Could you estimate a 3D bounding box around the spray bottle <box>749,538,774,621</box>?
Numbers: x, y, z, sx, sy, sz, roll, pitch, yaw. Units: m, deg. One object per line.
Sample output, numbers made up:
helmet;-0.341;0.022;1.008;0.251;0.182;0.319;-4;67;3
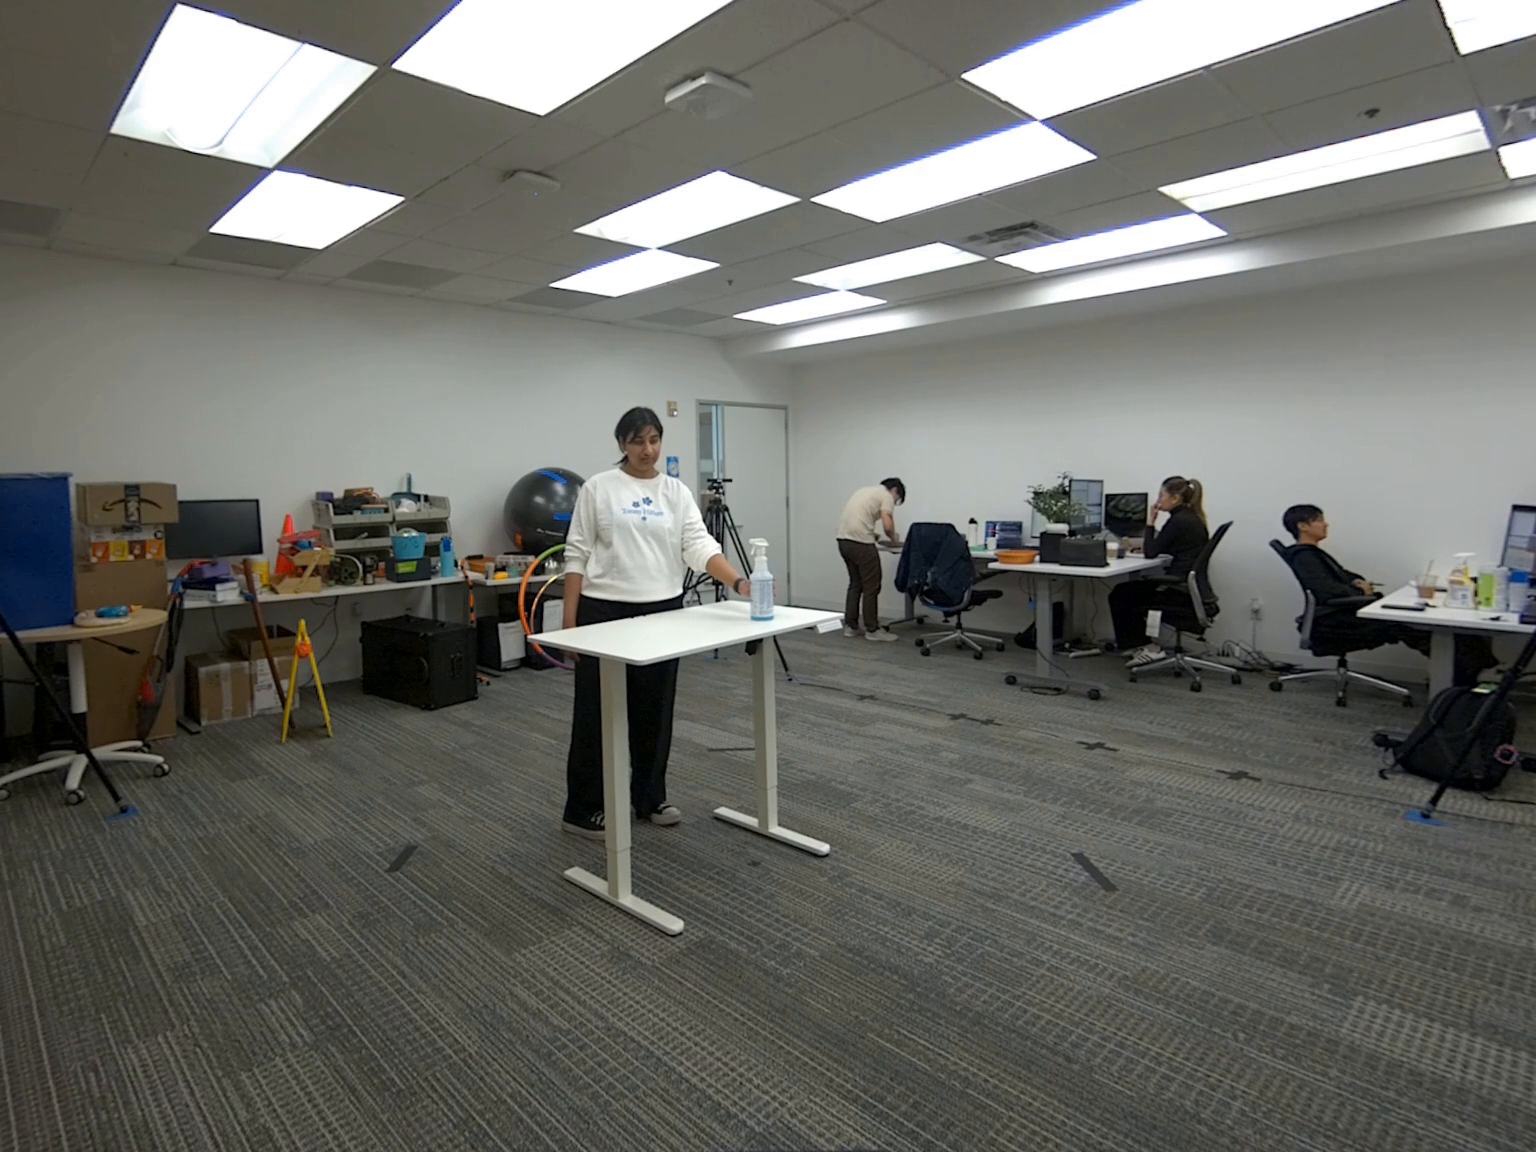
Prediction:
spray bottle;-0.028;0.011;3.118;0.088;0.295;0.089;-5;7;-19
